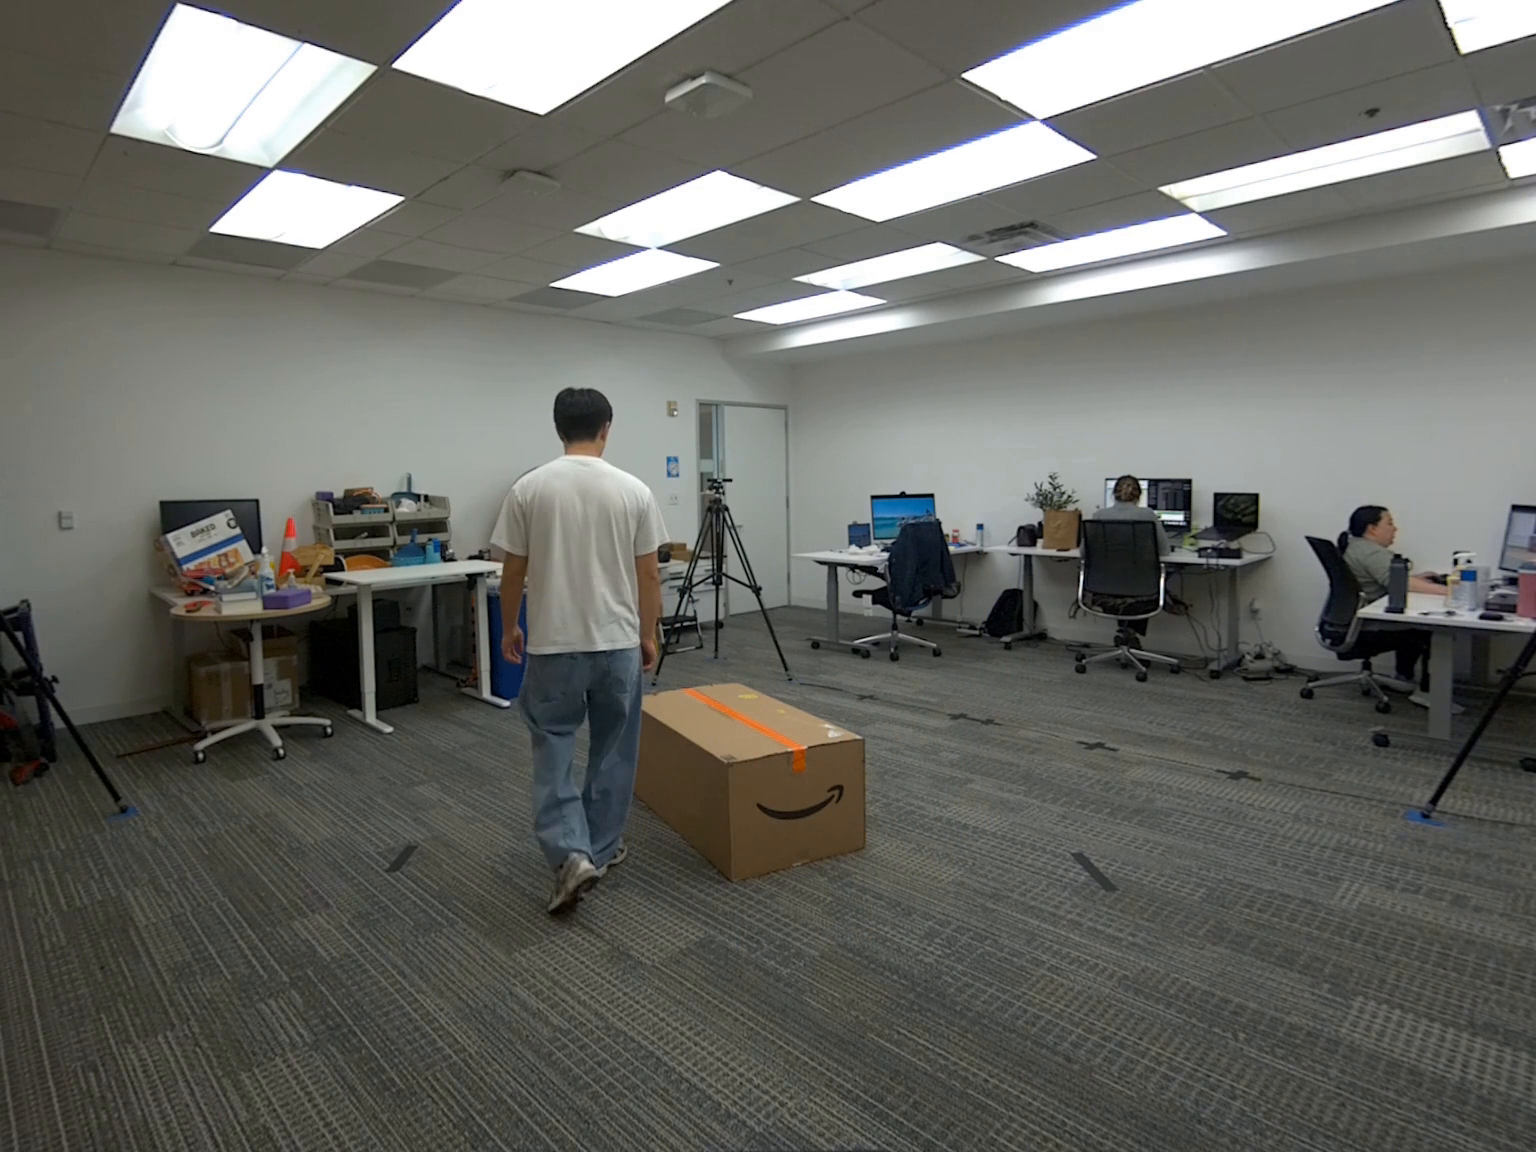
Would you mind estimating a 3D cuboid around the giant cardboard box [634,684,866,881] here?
[{"bbox_3d":[-0.132,0.785,3.531,0.564,0.424,1.054,-3,6,-29],"label":"giant cardboard box"}]
